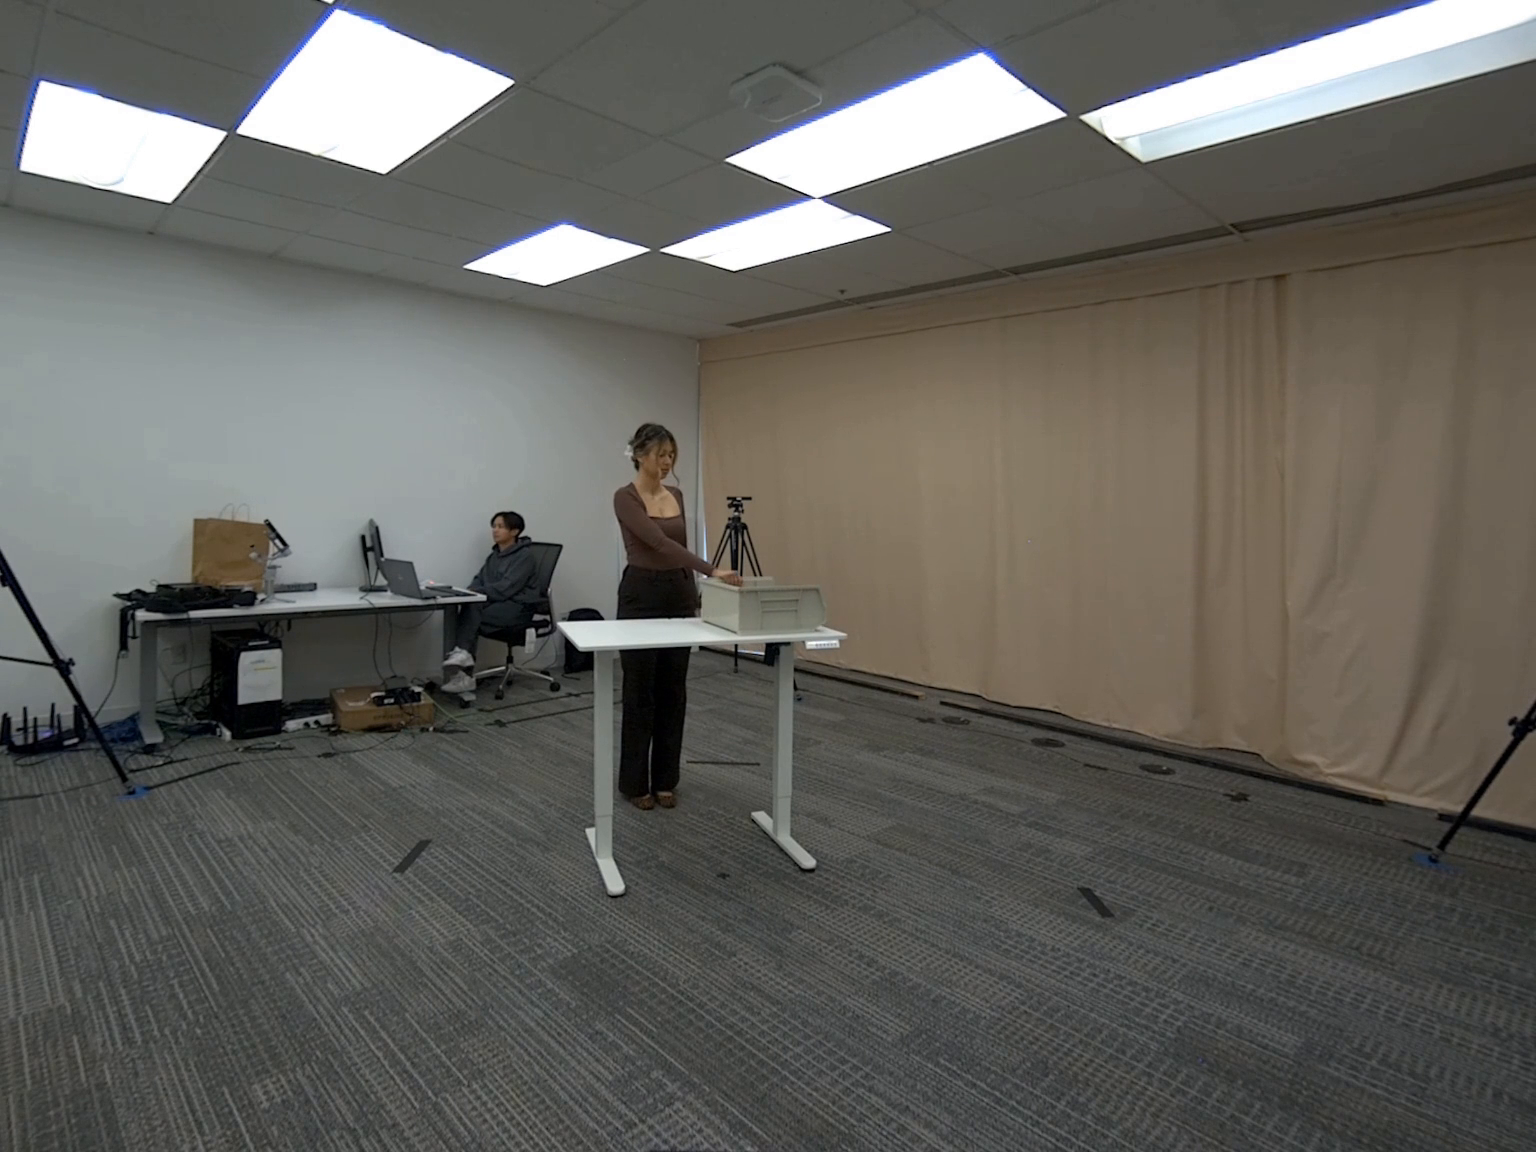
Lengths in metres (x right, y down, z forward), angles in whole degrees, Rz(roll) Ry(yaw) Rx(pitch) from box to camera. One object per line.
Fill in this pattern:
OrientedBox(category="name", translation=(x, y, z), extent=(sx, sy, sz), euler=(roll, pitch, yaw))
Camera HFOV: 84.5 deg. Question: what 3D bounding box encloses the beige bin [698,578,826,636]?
OrientedBox(category="beige bin", translation=(-0.035, 0.113, 3.344), extent=(0.371, 0.188, 0.431), euler=(-2, 6, -24))
